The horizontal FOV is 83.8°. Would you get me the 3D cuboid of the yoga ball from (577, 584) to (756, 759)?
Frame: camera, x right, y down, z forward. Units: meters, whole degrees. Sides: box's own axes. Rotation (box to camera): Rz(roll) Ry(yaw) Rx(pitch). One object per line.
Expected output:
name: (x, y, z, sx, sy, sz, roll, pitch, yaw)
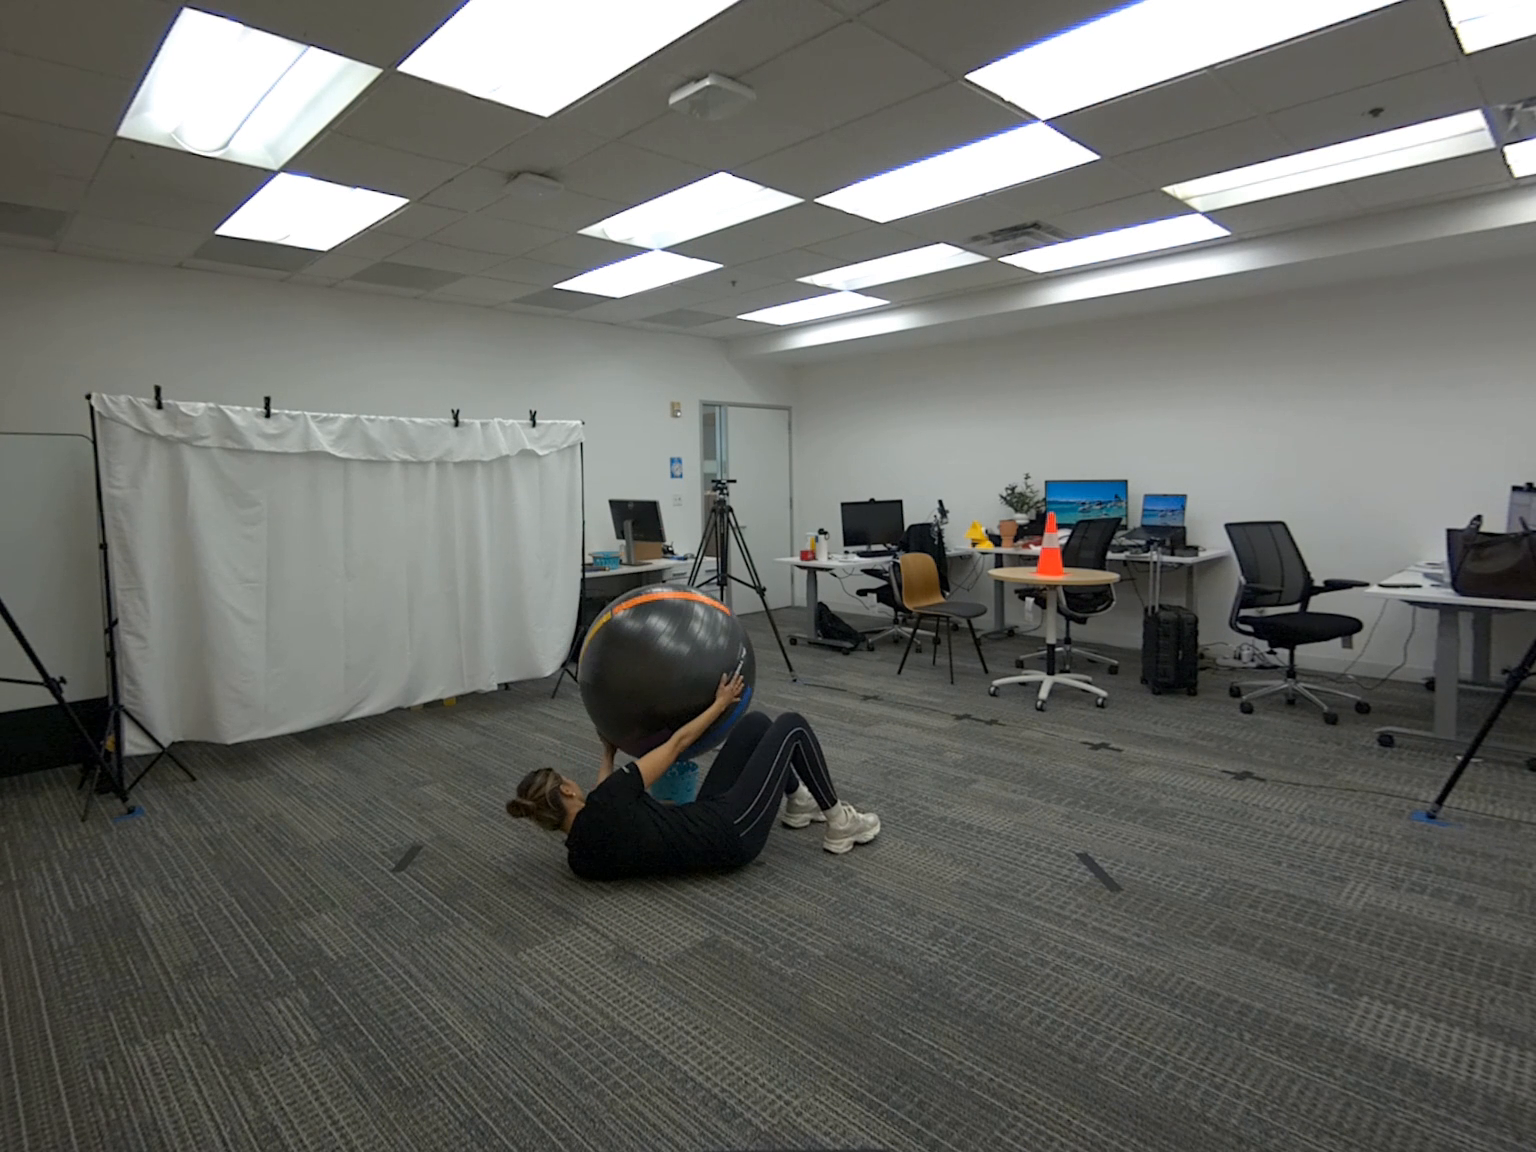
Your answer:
yoga ball: (-0.439, 0.411, 3.655, 0.757, 0.757, 0.759, 0, 1, -2)
